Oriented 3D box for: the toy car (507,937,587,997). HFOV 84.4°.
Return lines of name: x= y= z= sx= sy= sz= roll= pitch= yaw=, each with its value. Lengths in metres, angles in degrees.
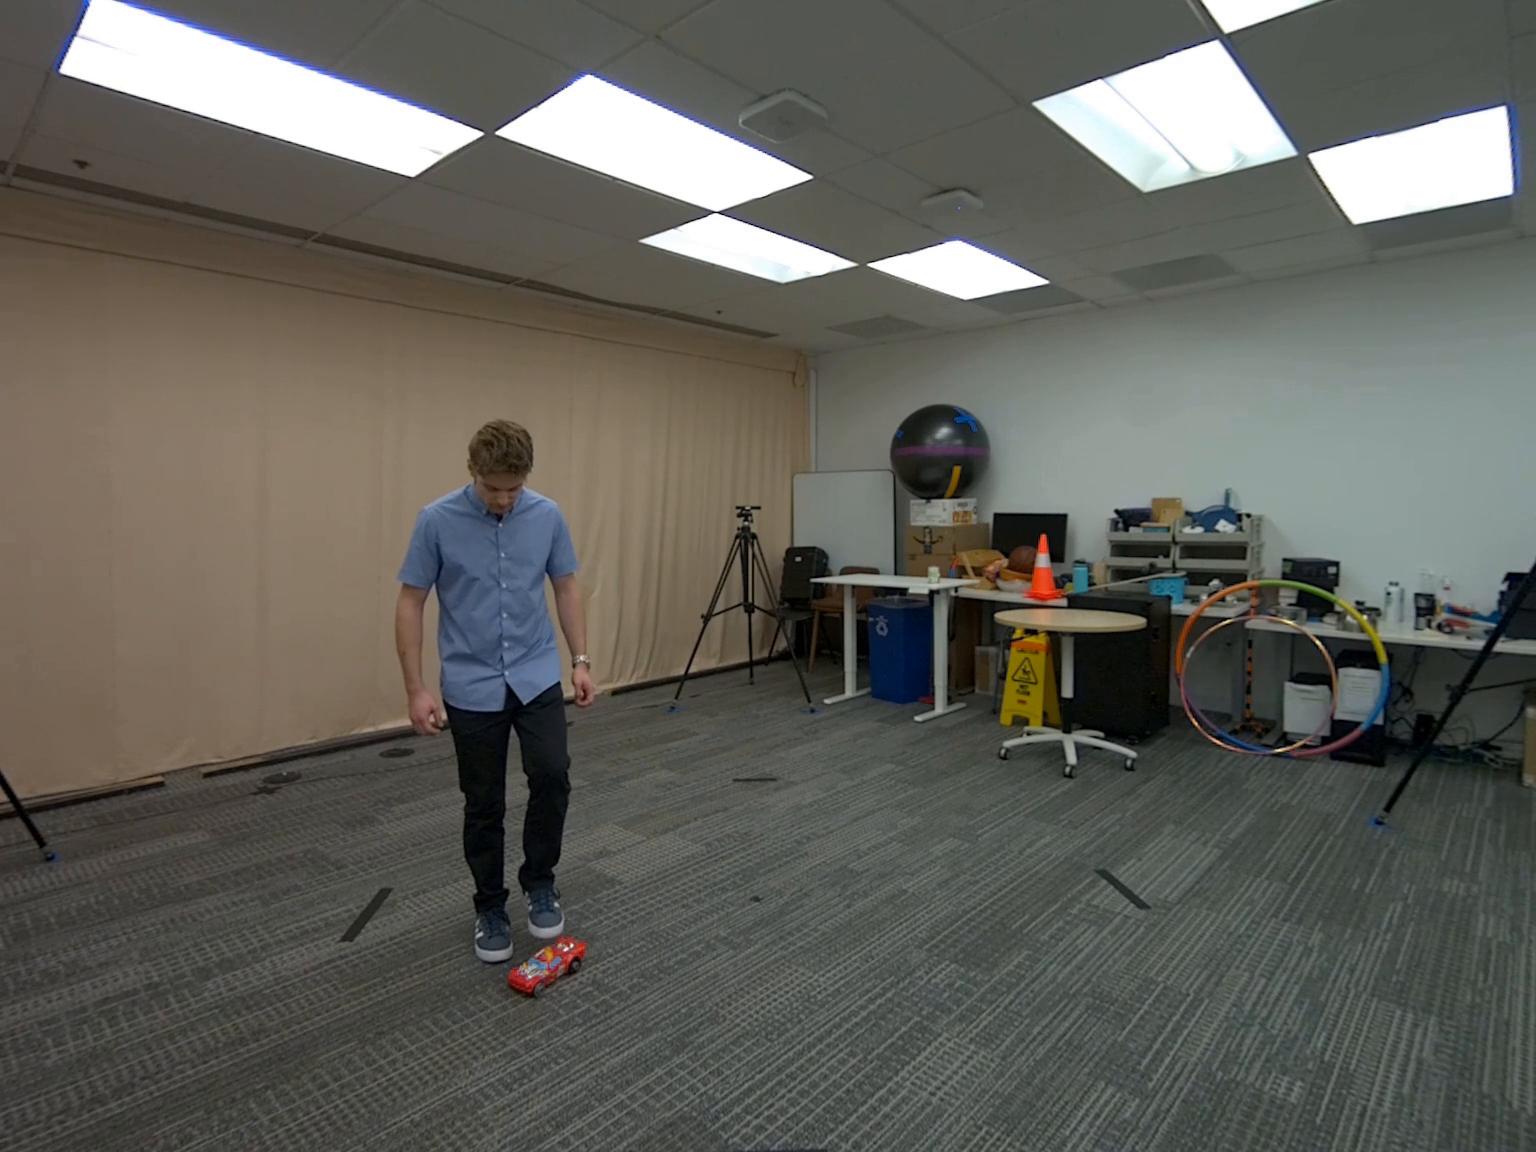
toy car: x=-0.651 y=1.162 z=2.492 sx=0.134 sy=0.082 sz=0.249 roll=1 pitch=15 yaw=33
